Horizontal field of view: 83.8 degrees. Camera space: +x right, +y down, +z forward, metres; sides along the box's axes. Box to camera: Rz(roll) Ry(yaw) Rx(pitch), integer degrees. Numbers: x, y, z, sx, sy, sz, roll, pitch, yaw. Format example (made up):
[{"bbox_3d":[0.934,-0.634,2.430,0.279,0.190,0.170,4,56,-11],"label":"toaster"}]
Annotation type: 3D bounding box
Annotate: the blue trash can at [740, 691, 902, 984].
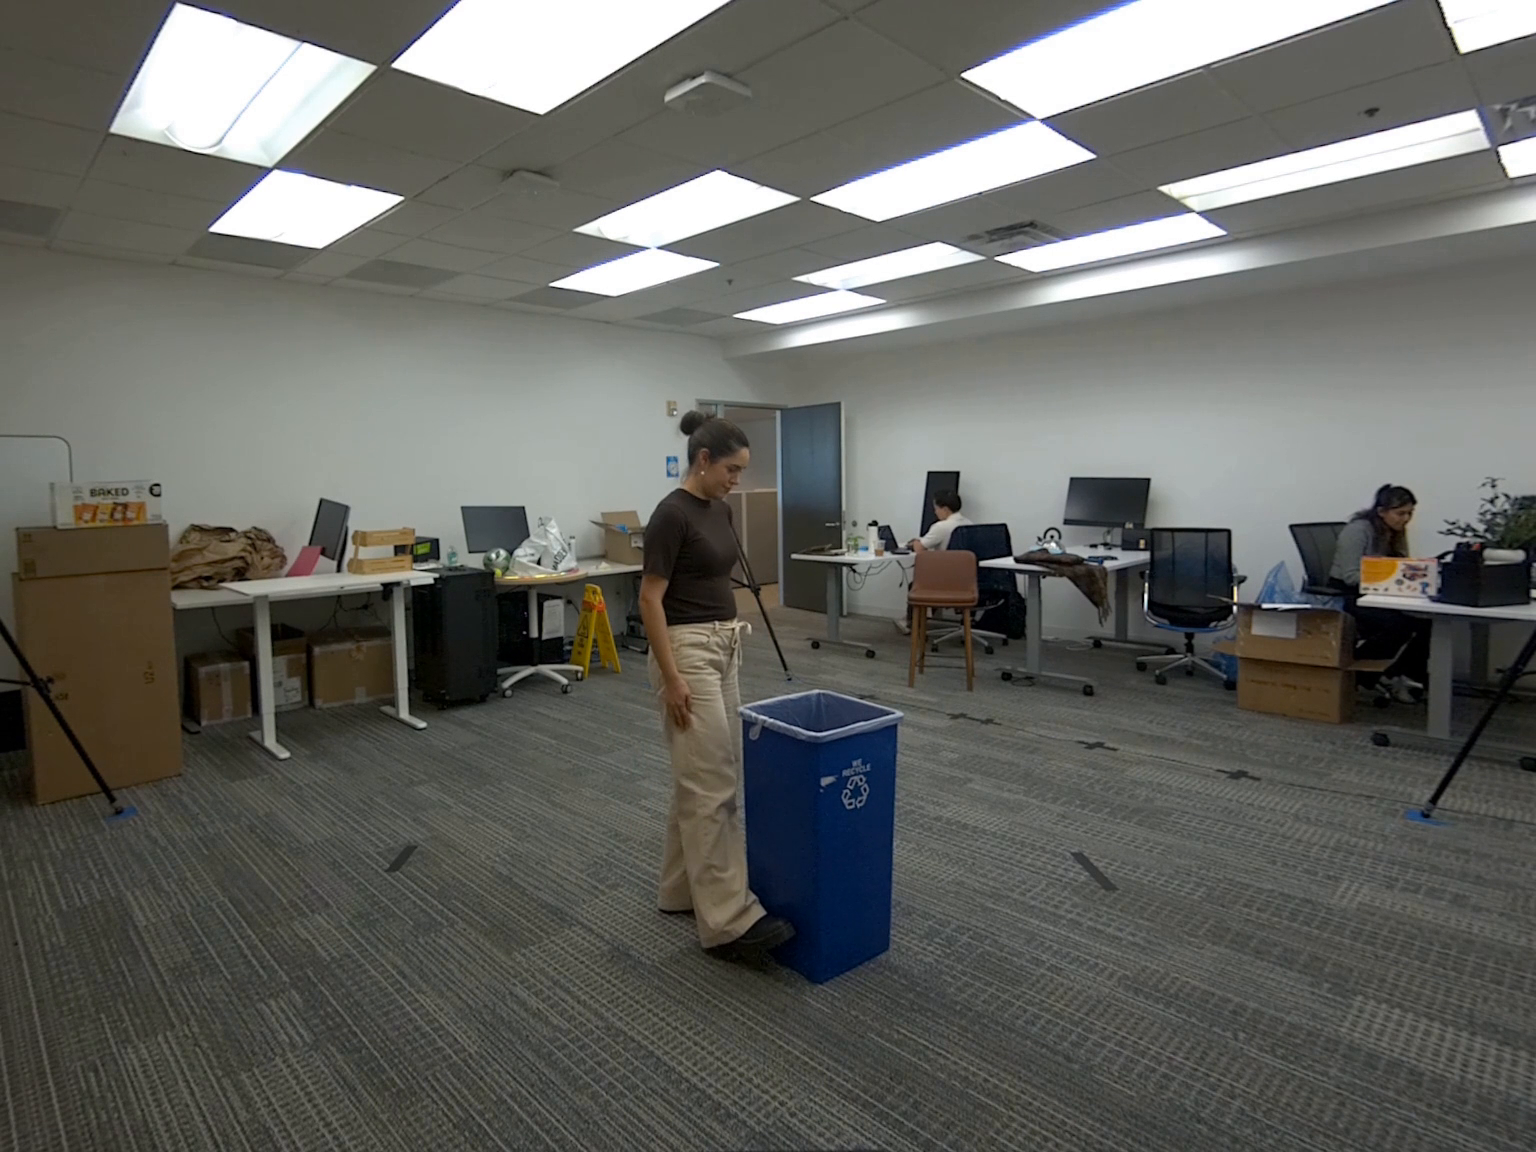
[{"bbox_3d":[0.167,0.749,2.530,0.368,0.711,0.385,-4,5,-40],"label":"blue trash can"}]
